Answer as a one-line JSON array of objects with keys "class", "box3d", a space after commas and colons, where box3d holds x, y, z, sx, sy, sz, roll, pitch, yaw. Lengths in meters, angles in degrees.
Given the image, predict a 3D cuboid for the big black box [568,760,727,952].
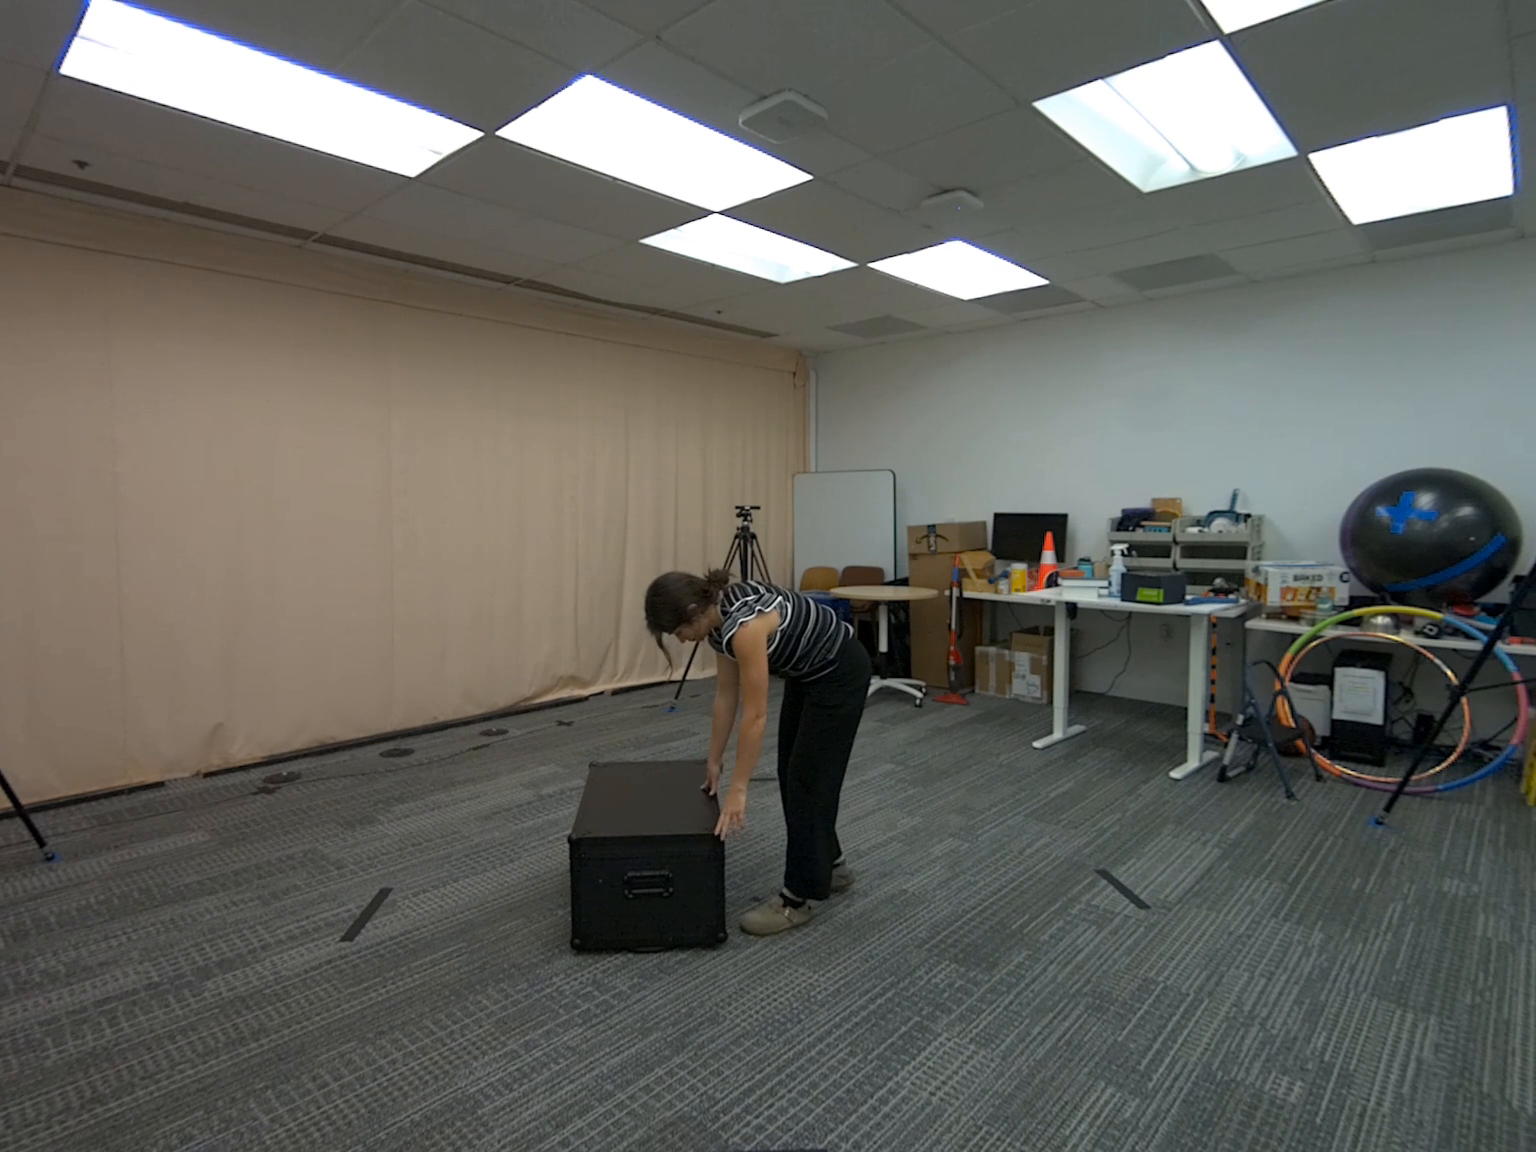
[{"class": "big black box", "box3d": [-0.418, 0.949, 3.028, 0.518, 0.395, 0.869, -1, 5, -7]}]
